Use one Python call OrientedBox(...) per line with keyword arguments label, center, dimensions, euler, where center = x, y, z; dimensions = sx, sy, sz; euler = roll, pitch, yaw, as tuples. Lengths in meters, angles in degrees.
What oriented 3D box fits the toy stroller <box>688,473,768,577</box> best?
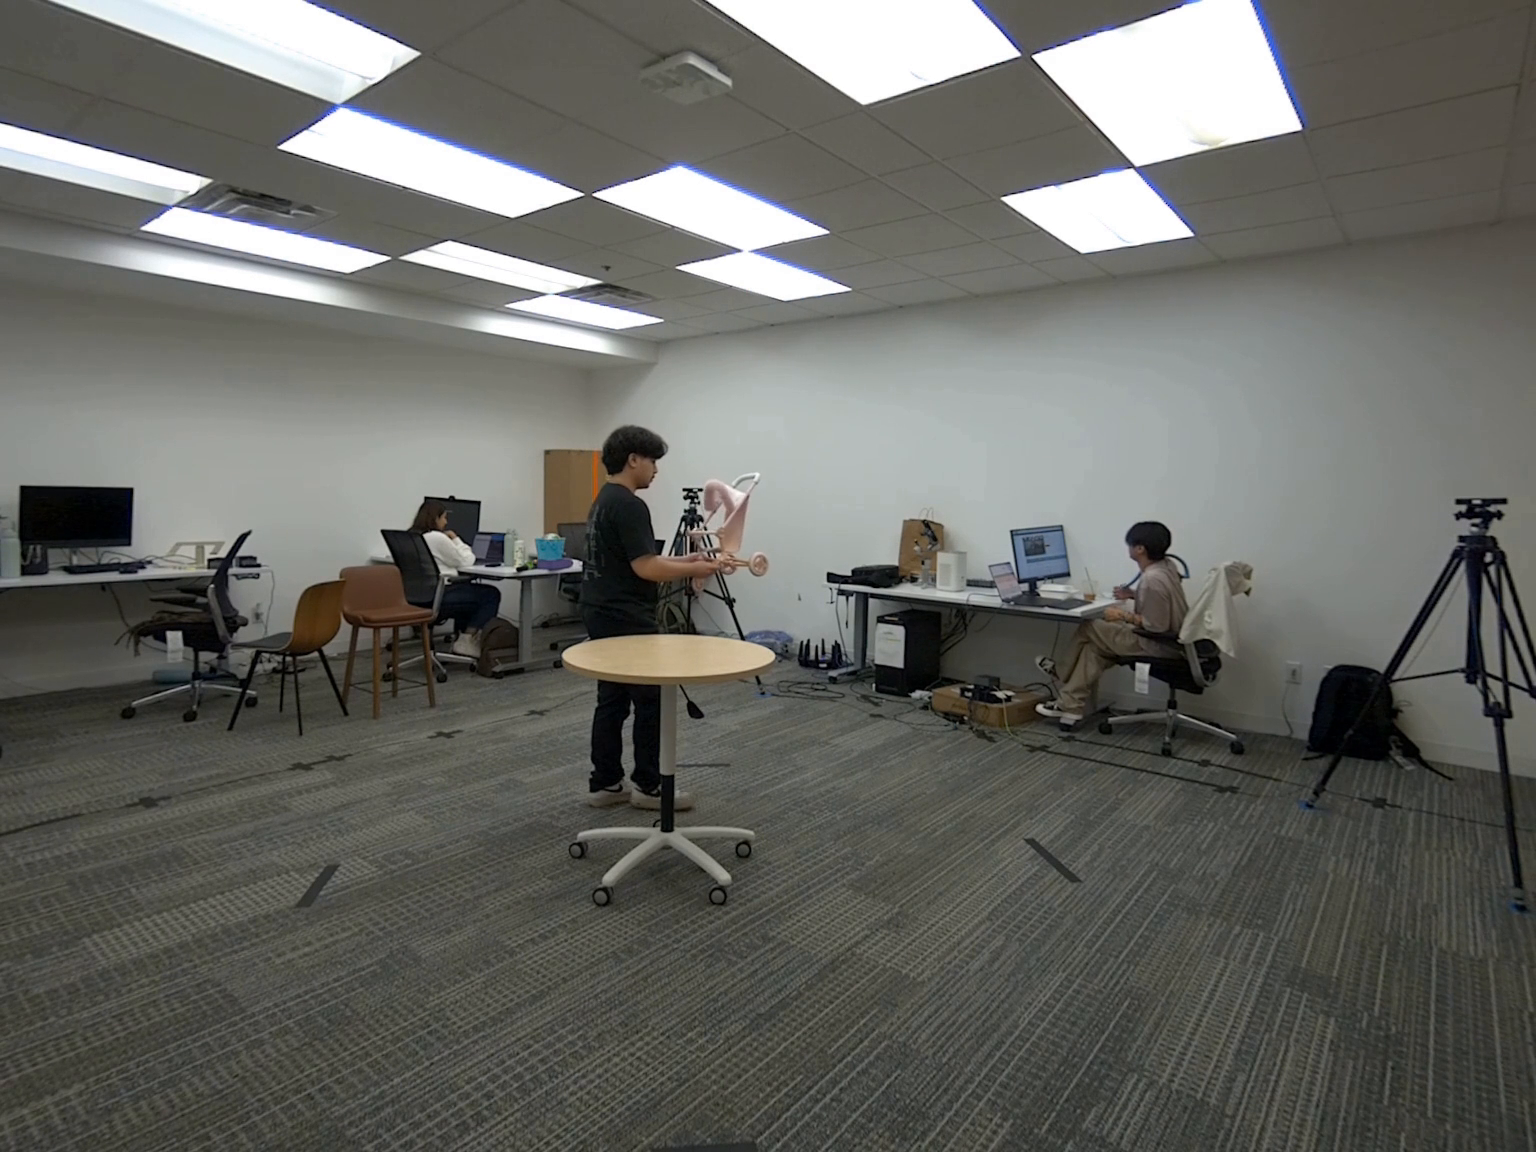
OrientedBox(label="toy stroller", center=(-0.219, -0.203, 3.875), dimensions=(0.332, 0.534, 0.289), euler=(-2, 1, -31))
